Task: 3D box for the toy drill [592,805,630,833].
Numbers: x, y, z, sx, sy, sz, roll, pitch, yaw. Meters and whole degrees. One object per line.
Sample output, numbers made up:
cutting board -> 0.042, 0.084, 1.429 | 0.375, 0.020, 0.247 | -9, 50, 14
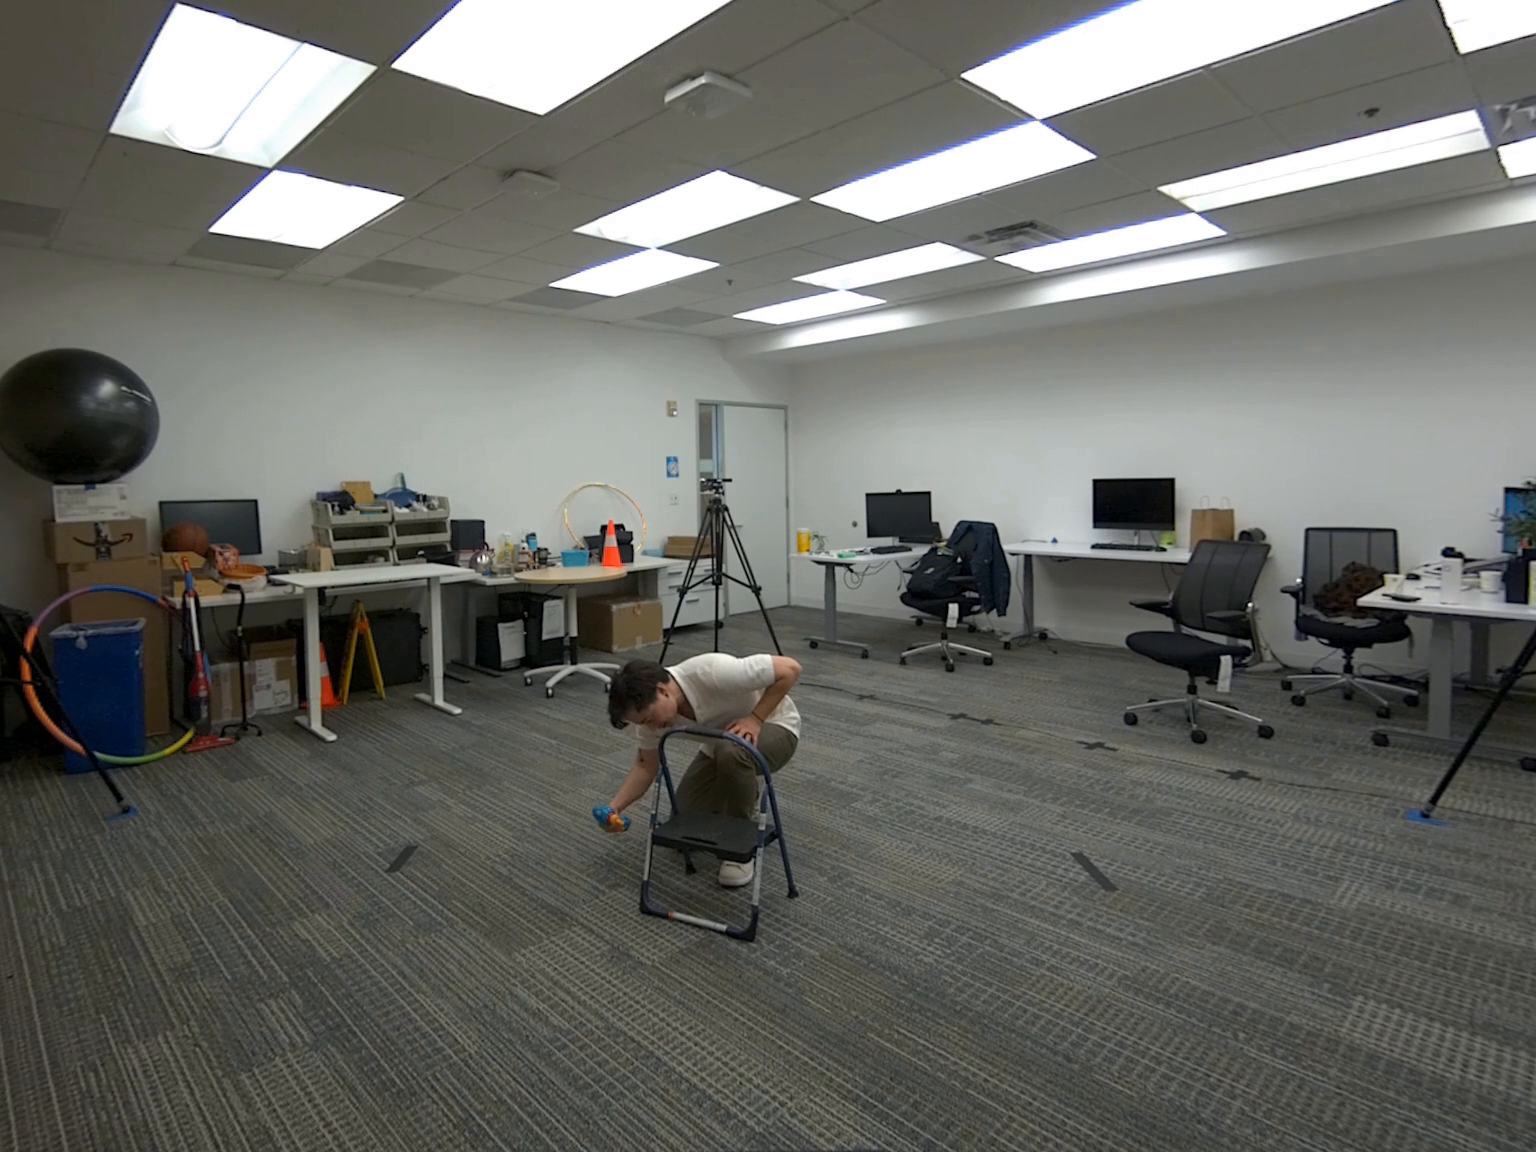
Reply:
toy drill -> -0.523, 0.856, 2.993 | 0.175, 0.062, 0.140 | 2, -21, 43
